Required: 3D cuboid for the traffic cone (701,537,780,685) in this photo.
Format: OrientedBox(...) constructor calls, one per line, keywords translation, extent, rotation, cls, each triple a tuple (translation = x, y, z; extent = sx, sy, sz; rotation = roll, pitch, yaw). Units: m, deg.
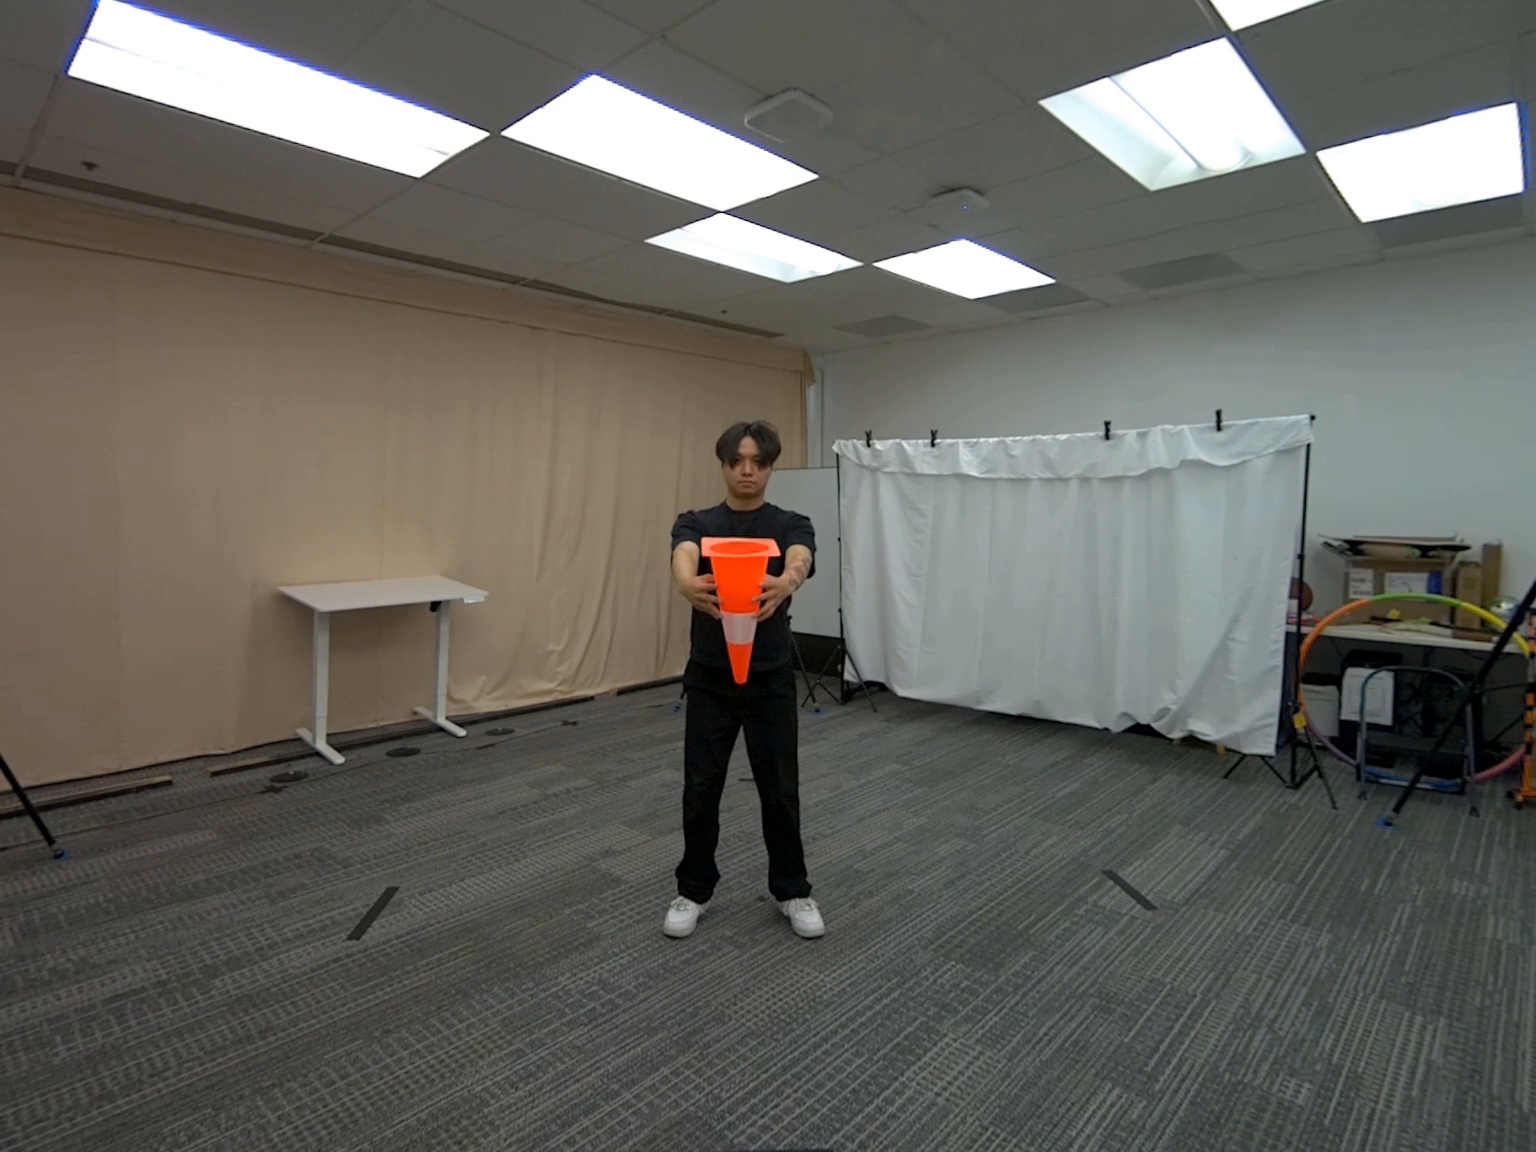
OrientedBox(translation=(-0.083, 0.109, 2.244), extent=(0.205, 0.381, 0.205), rotation=(3, 13, -1), cls="traffic cone")
